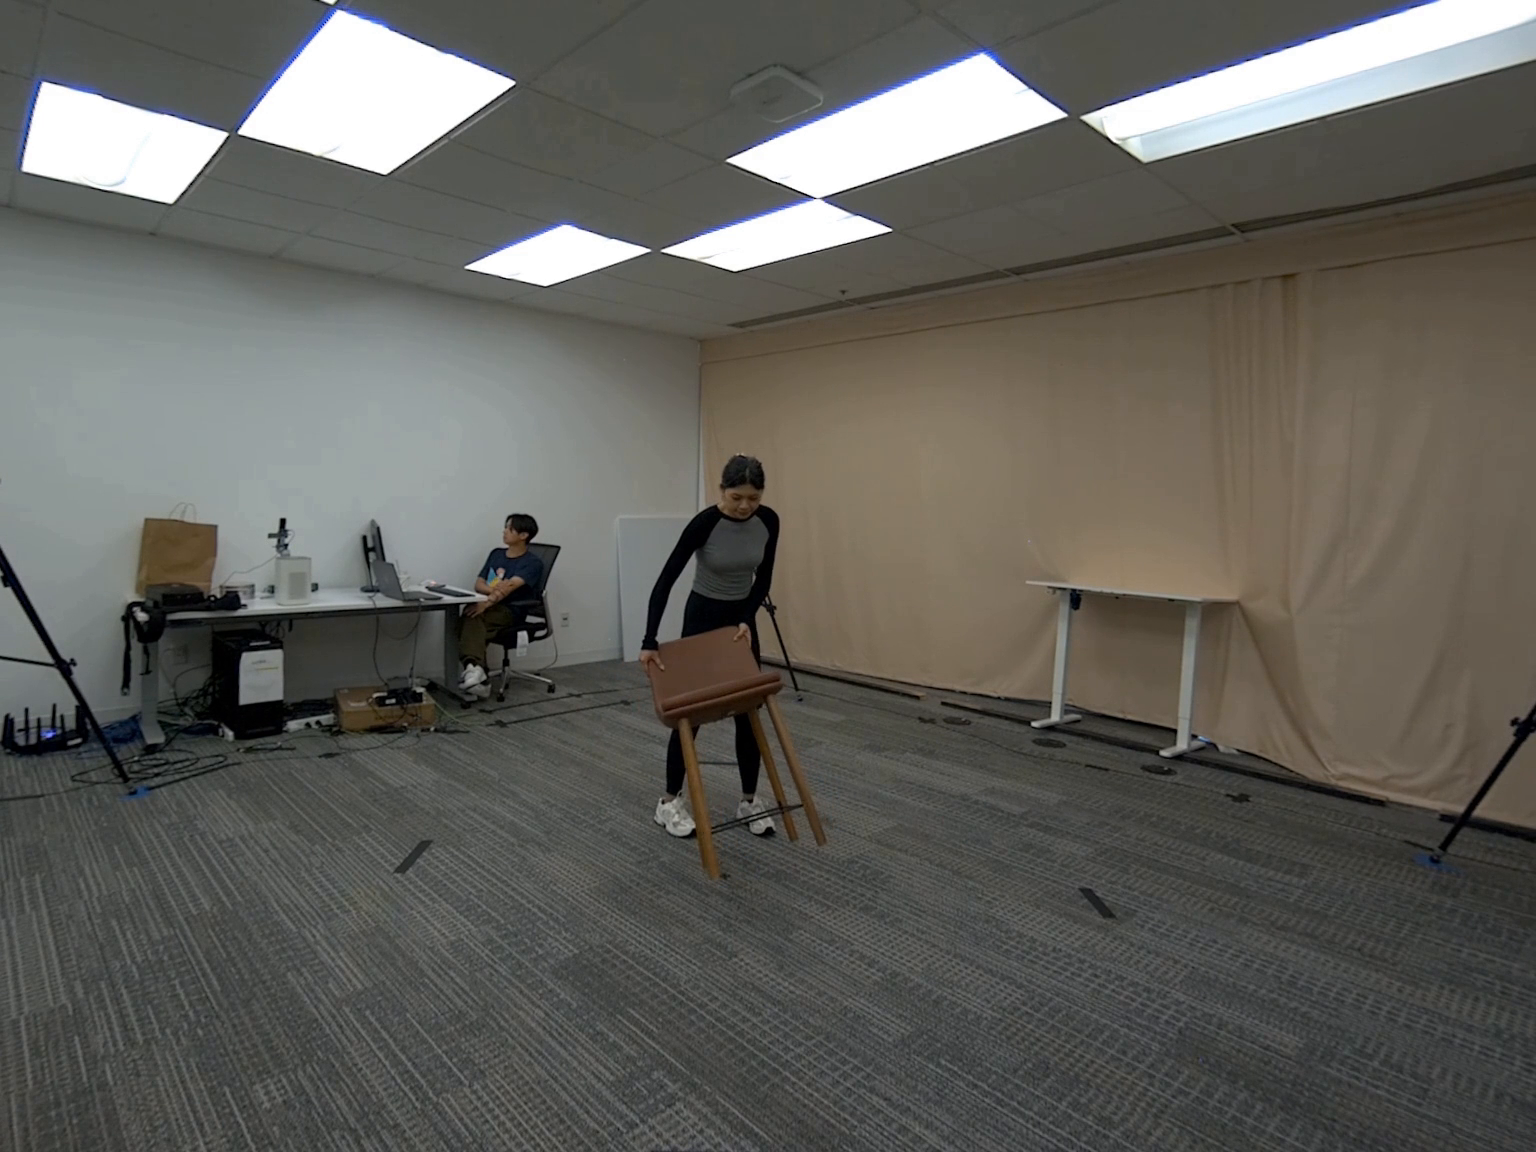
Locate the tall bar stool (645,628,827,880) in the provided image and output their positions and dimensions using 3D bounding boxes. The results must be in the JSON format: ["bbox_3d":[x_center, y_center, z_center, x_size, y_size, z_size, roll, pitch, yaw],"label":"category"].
[{"bbox_3d":[-0.157,0.598,3.106,0.453,0.903,0.464,-13,-16,-11],"label":"tall bar stool"}]
